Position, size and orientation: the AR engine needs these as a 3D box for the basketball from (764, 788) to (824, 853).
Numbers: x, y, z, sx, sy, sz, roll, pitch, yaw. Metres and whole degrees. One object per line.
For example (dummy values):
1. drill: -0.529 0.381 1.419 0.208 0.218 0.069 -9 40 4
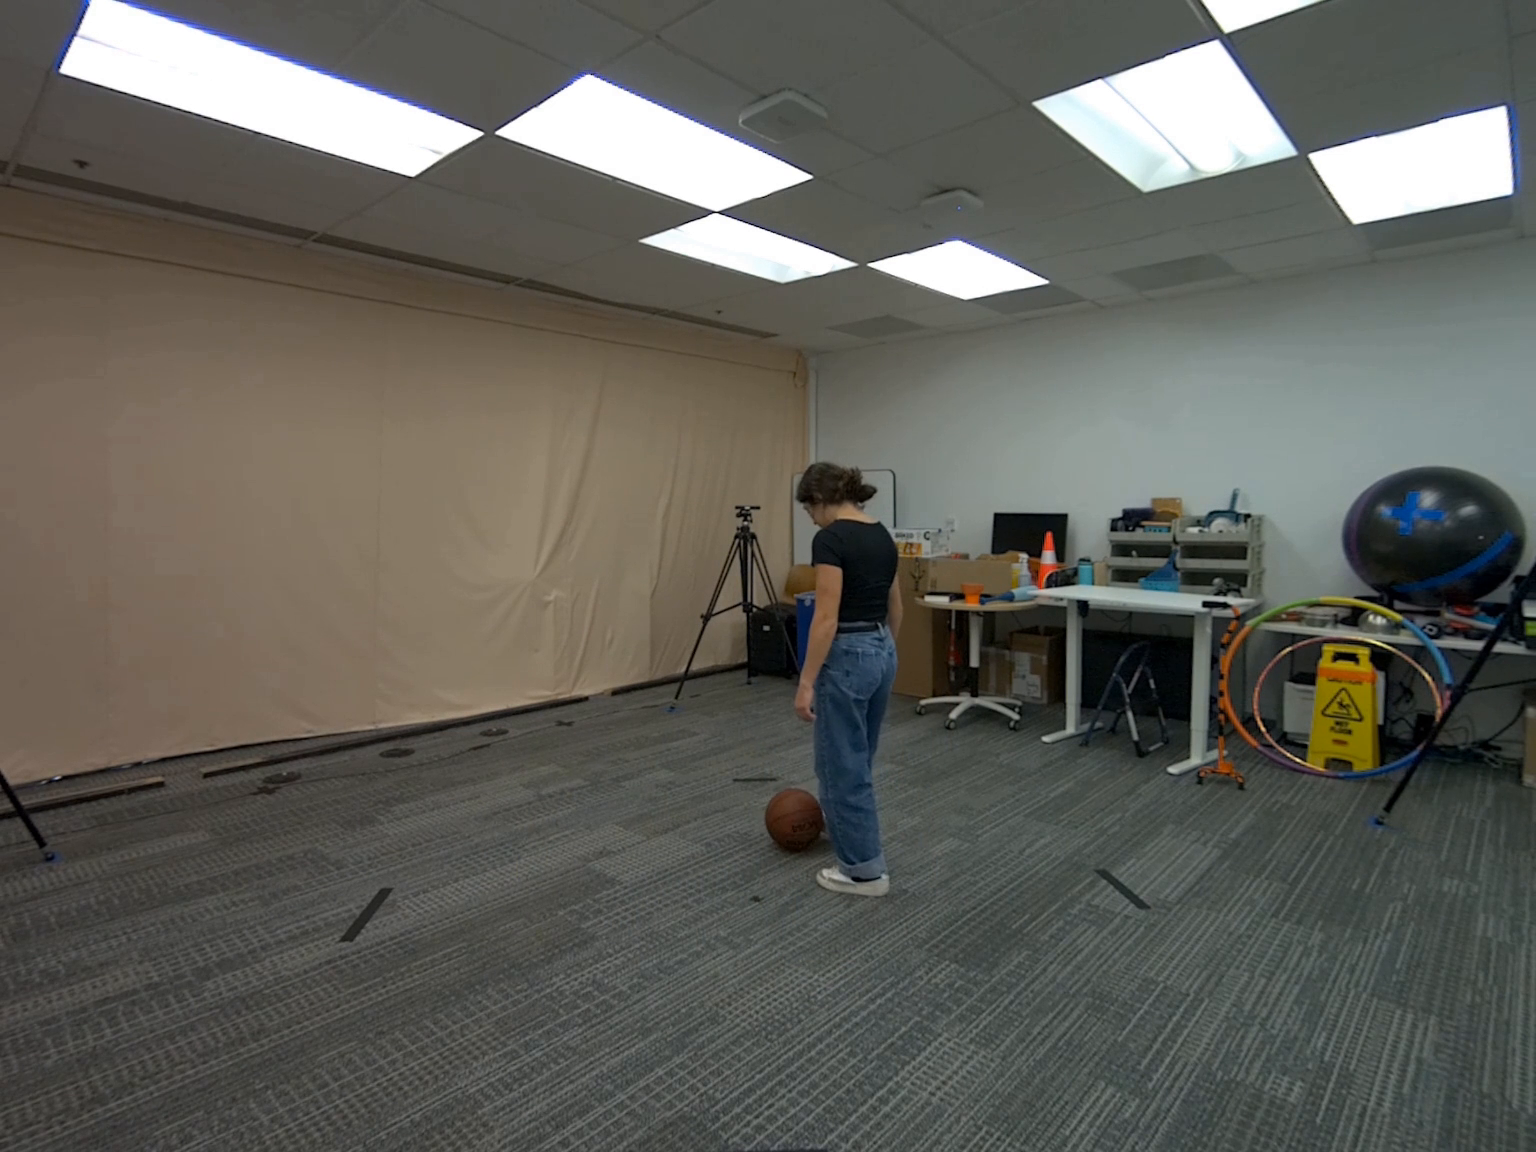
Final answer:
1. basketball: 0.106 0.986 3.424 0.236 0.235 0.237 0 4 -2
